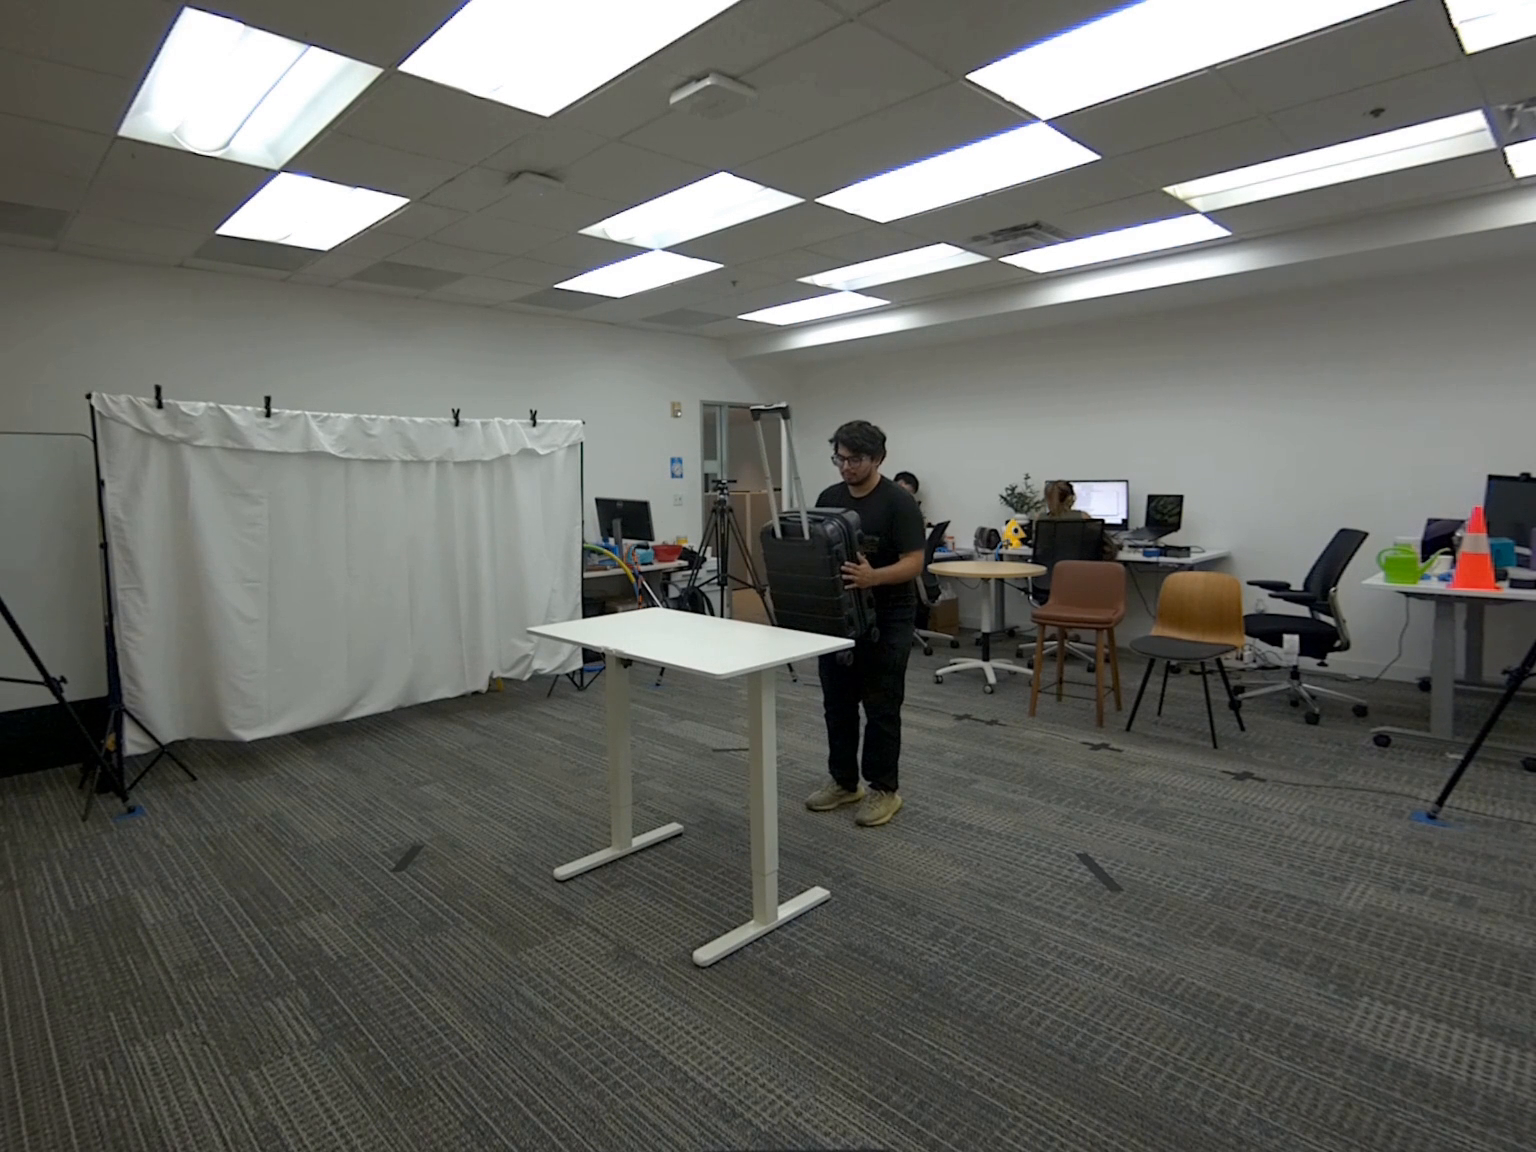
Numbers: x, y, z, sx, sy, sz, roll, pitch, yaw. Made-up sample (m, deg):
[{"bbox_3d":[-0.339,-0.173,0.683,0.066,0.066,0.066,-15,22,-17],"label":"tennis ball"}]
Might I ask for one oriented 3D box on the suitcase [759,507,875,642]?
[{"bbox_3d":[0.153,-0.180,3.211,0.396,0.962,0.253,5,22,40],"label":"suitcase"}]
